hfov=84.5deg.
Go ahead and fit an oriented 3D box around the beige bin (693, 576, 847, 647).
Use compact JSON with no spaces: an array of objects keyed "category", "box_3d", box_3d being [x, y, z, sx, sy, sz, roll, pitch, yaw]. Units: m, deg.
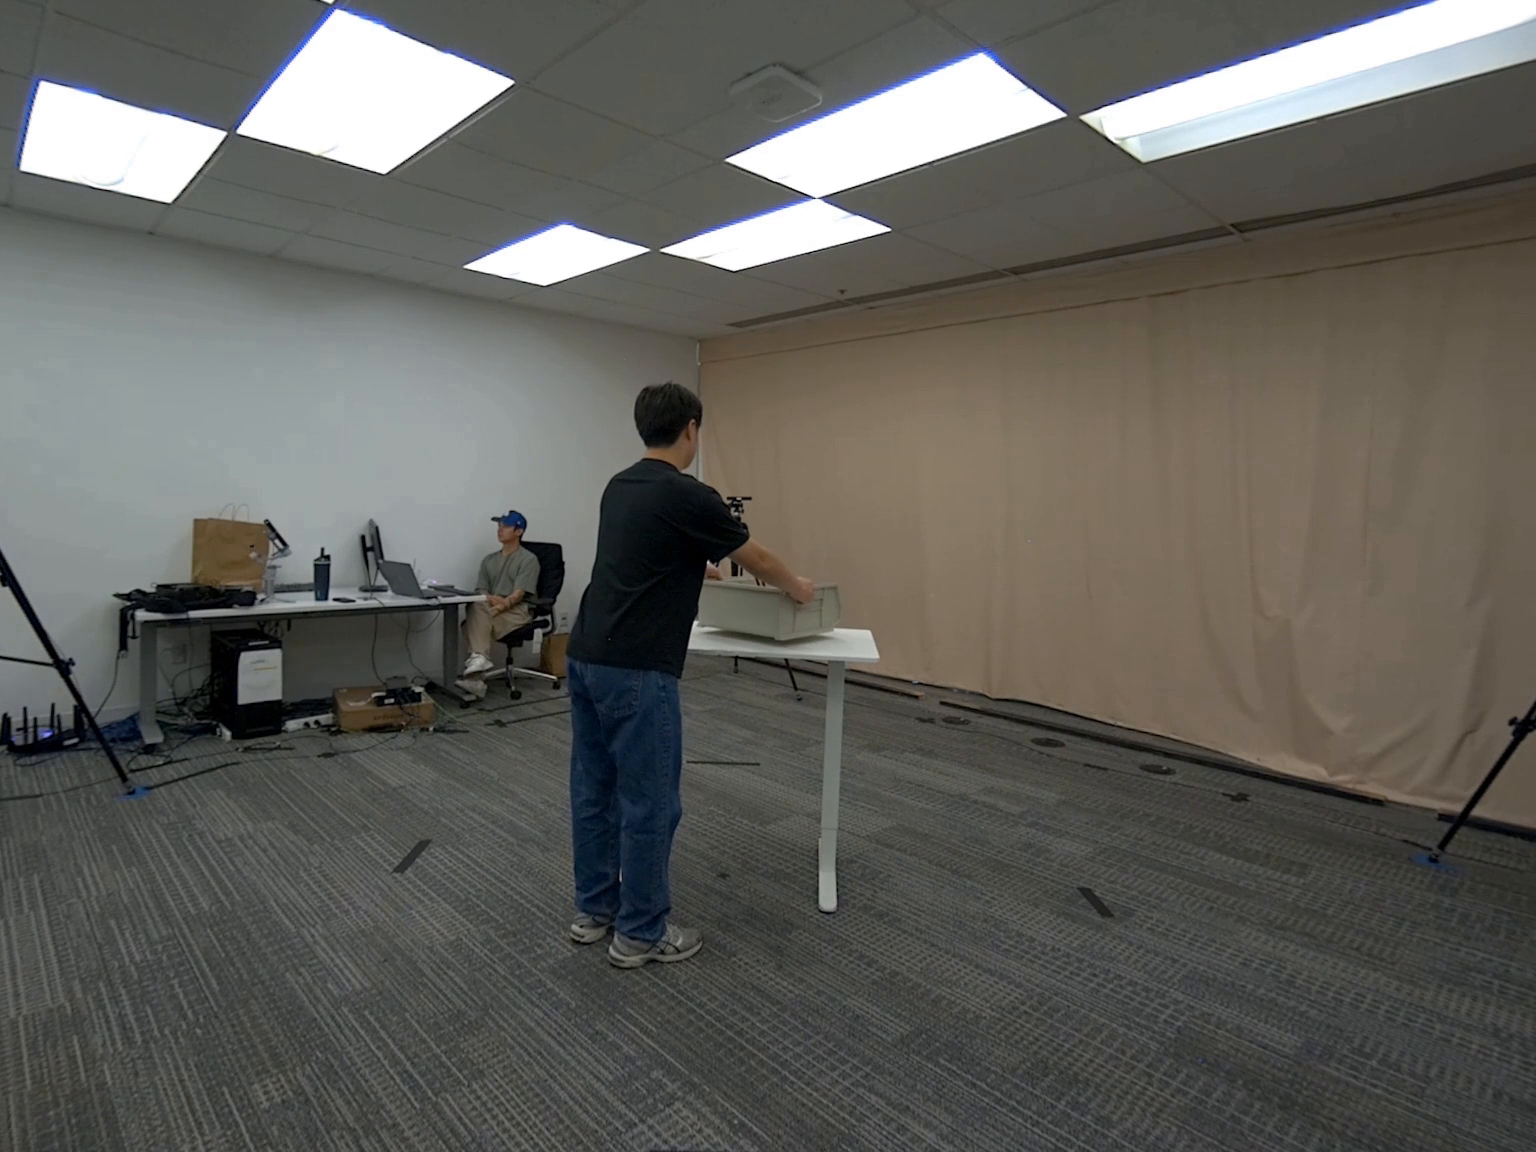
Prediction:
[{"category":"beige bin","box_3d":[0.004,0.115,3.141,0.433,0.188,0.369,5,6,41]}]
